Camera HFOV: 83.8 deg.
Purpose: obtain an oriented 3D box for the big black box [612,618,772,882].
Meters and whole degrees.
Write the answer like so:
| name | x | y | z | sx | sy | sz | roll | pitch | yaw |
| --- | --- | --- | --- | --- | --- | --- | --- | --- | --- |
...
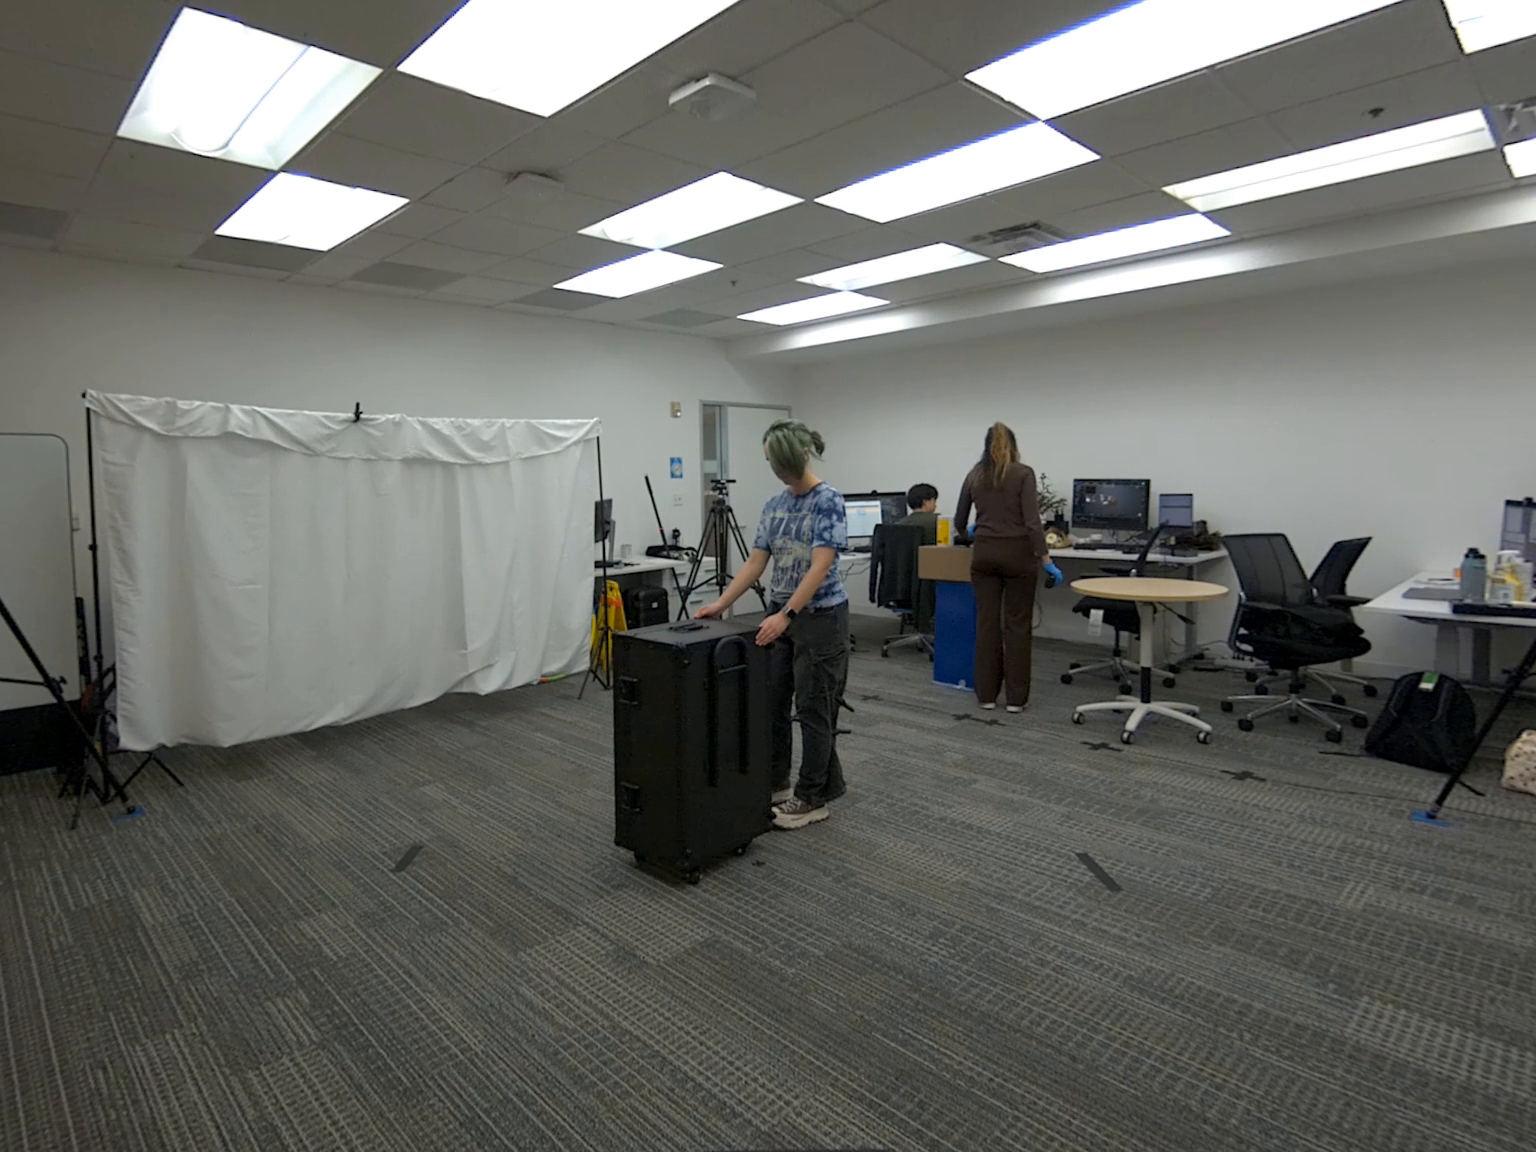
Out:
| name | x | y | z | sx | sy | sz | roll | pitch | yaw |
| --- | --- | --- | --- | --- | --- | --- | --- | --- | --- |
| big black box | -0.264 | 0.623 | 3.151 | 0.408 | 0.858 | 0.507 | 4 | 5 | 41 |
